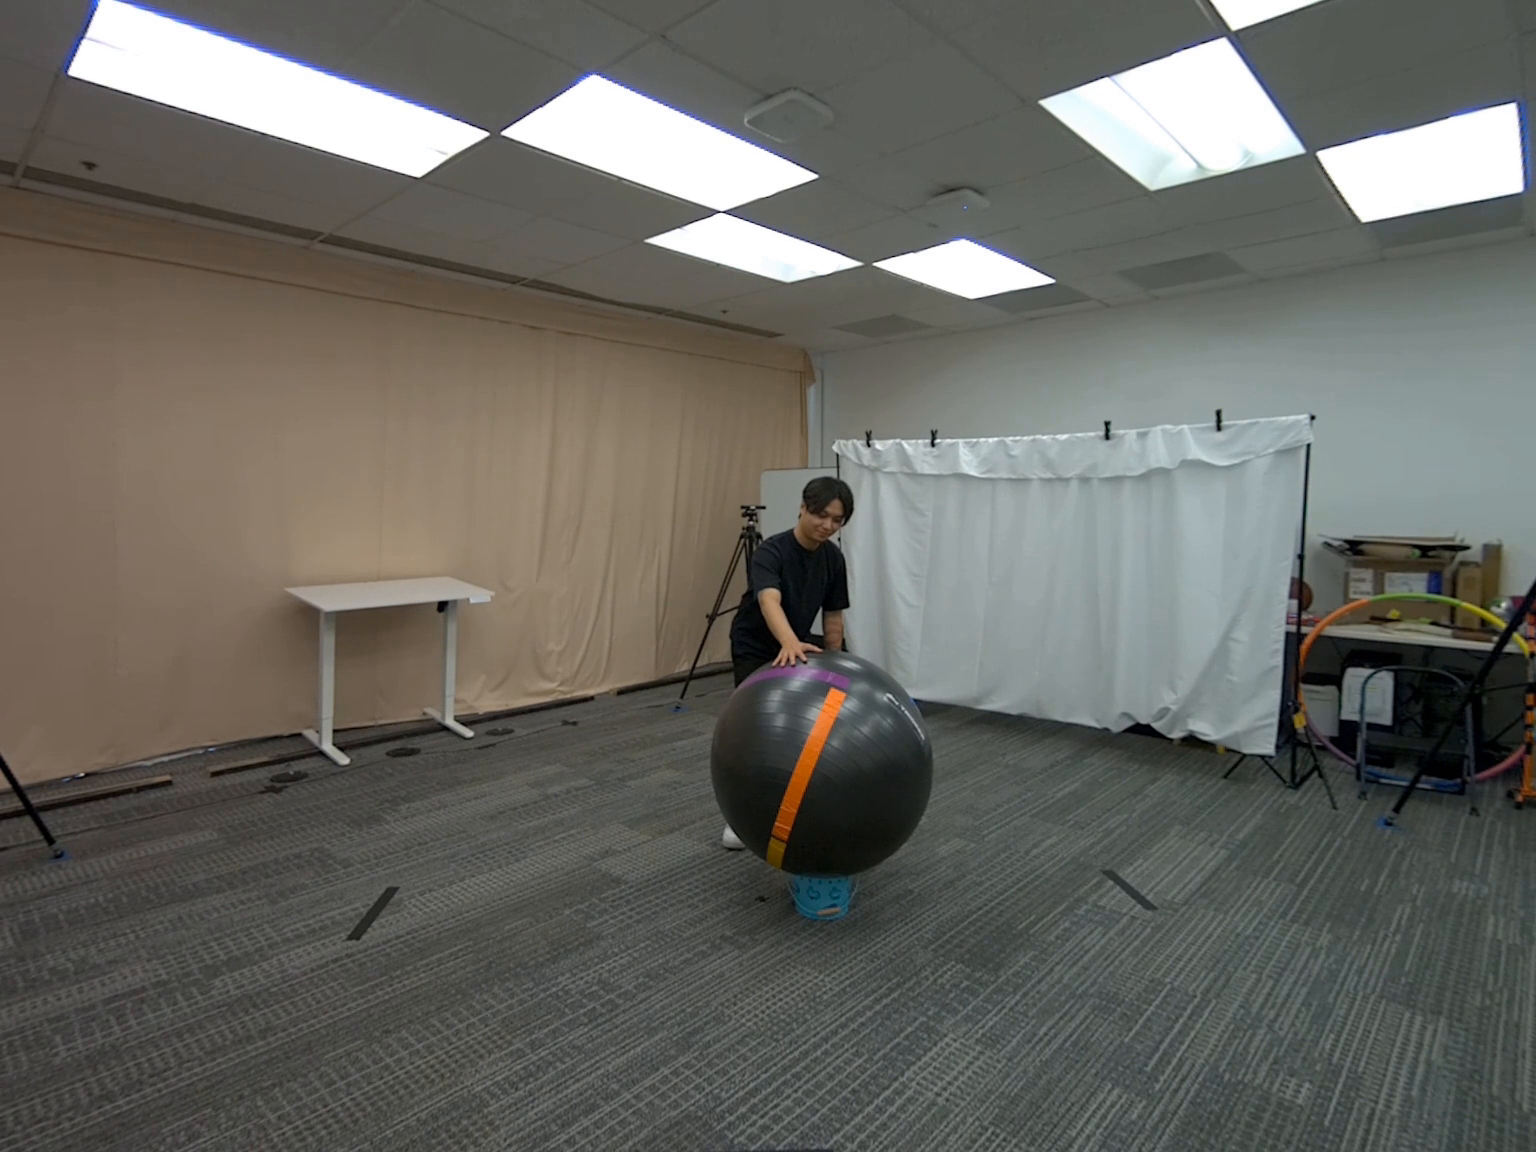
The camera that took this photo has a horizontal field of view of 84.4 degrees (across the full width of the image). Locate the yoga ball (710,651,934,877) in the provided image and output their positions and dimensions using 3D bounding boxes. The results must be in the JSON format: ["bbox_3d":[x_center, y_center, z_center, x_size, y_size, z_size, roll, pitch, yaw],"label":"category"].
[{"bbox_3d":[0.185,0.641,2.896,0.757,0.756,0.760,0,4,-2],"label":"yoga ball"}]
